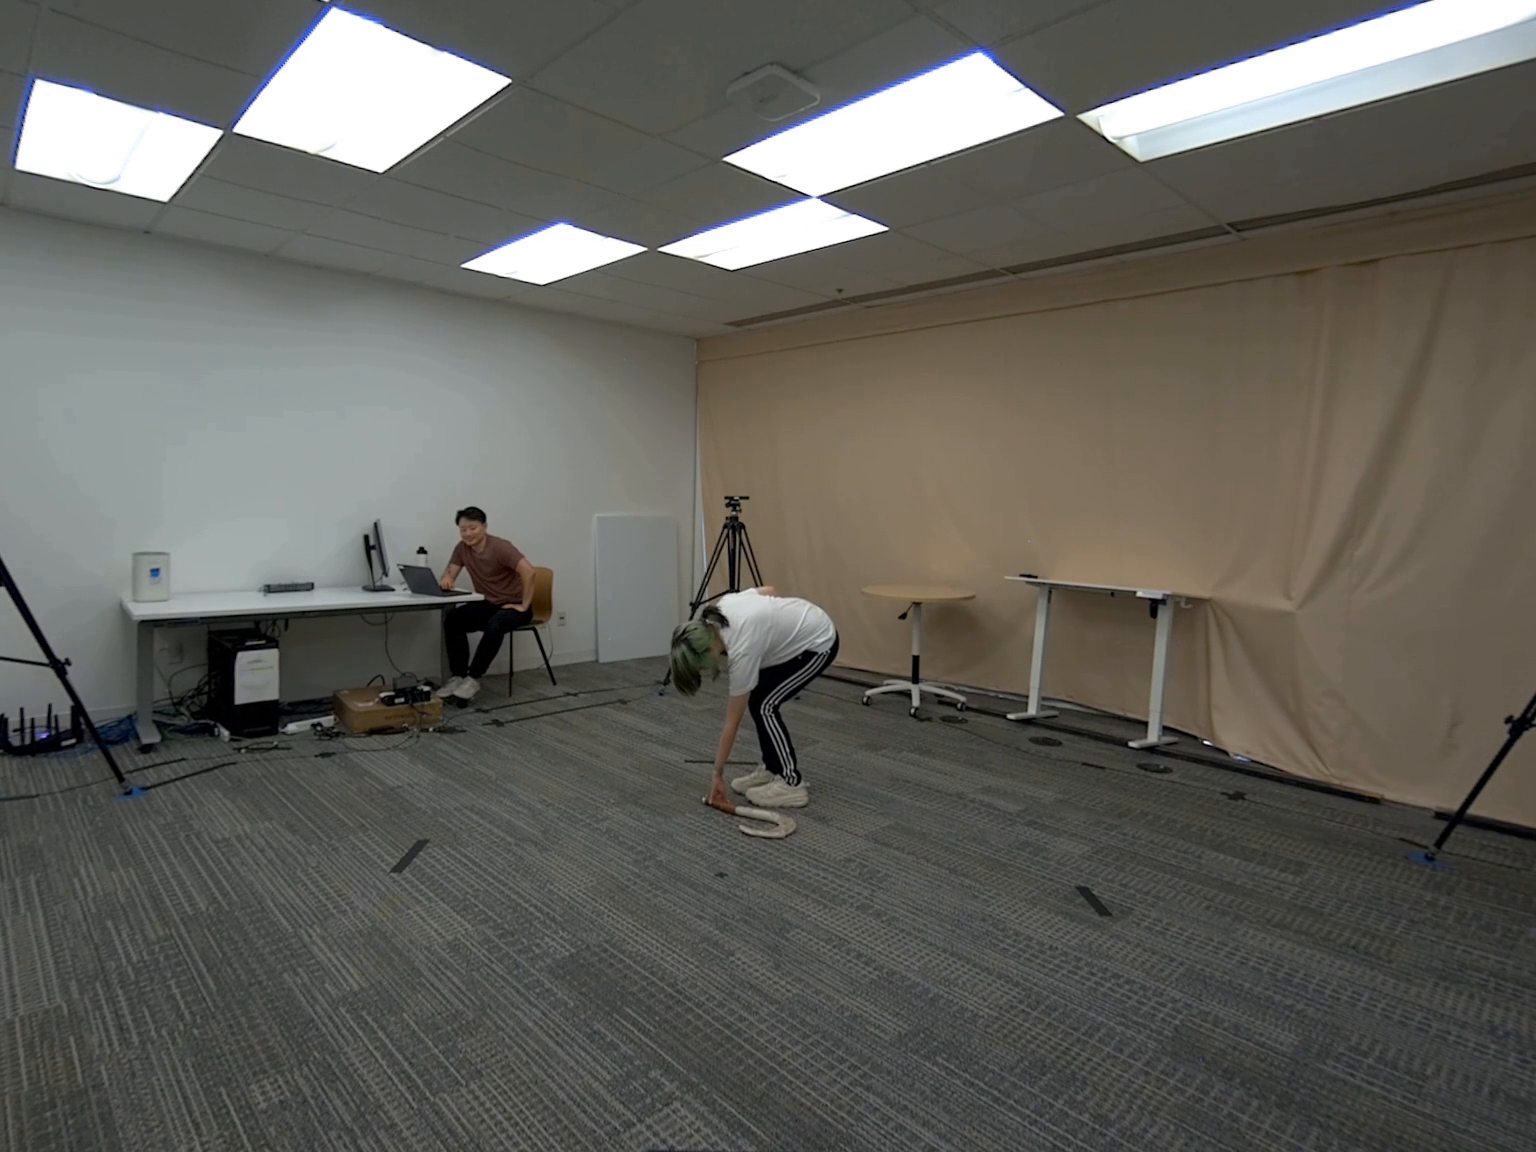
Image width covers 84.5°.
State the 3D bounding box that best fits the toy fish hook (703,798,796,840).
[{"bbox_3d":[-0.127,1.039,3.629,0.519,0.048,0.219,5,4,37],"label":"toy fish hook"}]
